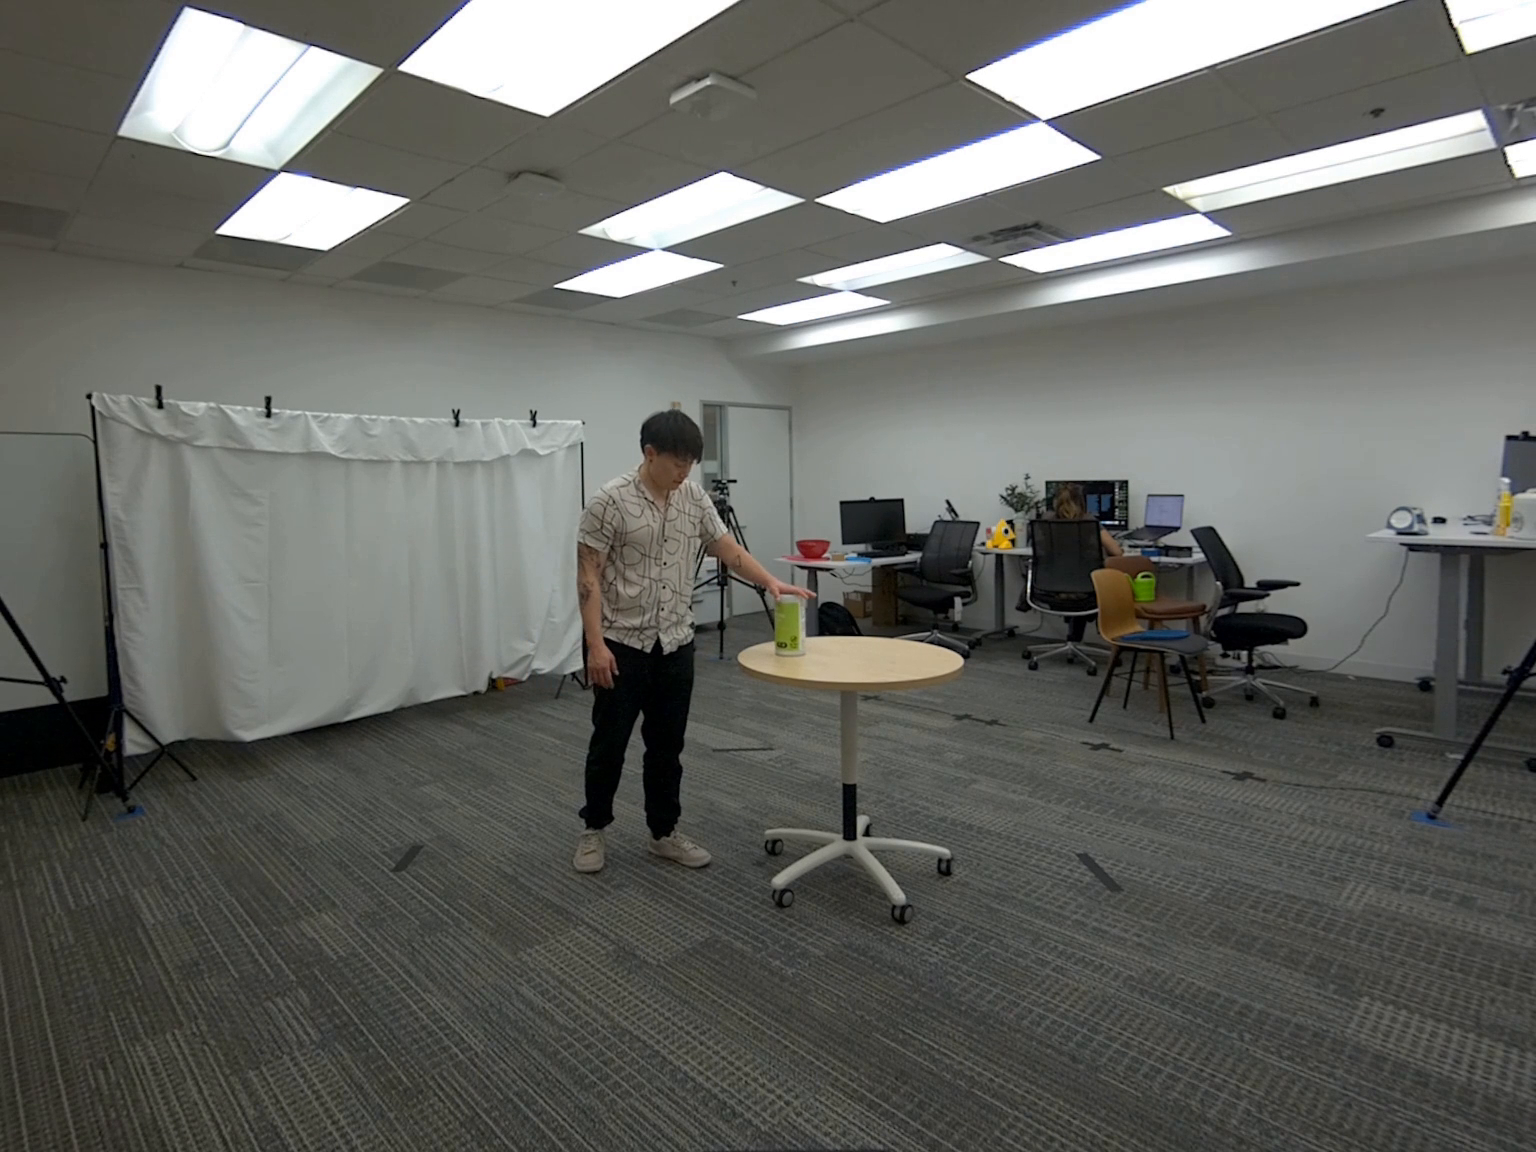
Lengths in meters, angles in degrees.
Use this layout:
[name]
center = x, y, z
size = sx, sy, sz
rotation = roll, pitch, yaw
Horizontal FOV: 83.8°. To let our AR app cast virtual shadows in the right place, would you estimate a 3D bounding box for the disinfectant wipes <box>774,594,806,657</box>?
[disinfectant wipes]
center = 0.078, 0.170, 2.999
size = 0.118, 0.217, 0.118
rotation = -2, 4, -1
